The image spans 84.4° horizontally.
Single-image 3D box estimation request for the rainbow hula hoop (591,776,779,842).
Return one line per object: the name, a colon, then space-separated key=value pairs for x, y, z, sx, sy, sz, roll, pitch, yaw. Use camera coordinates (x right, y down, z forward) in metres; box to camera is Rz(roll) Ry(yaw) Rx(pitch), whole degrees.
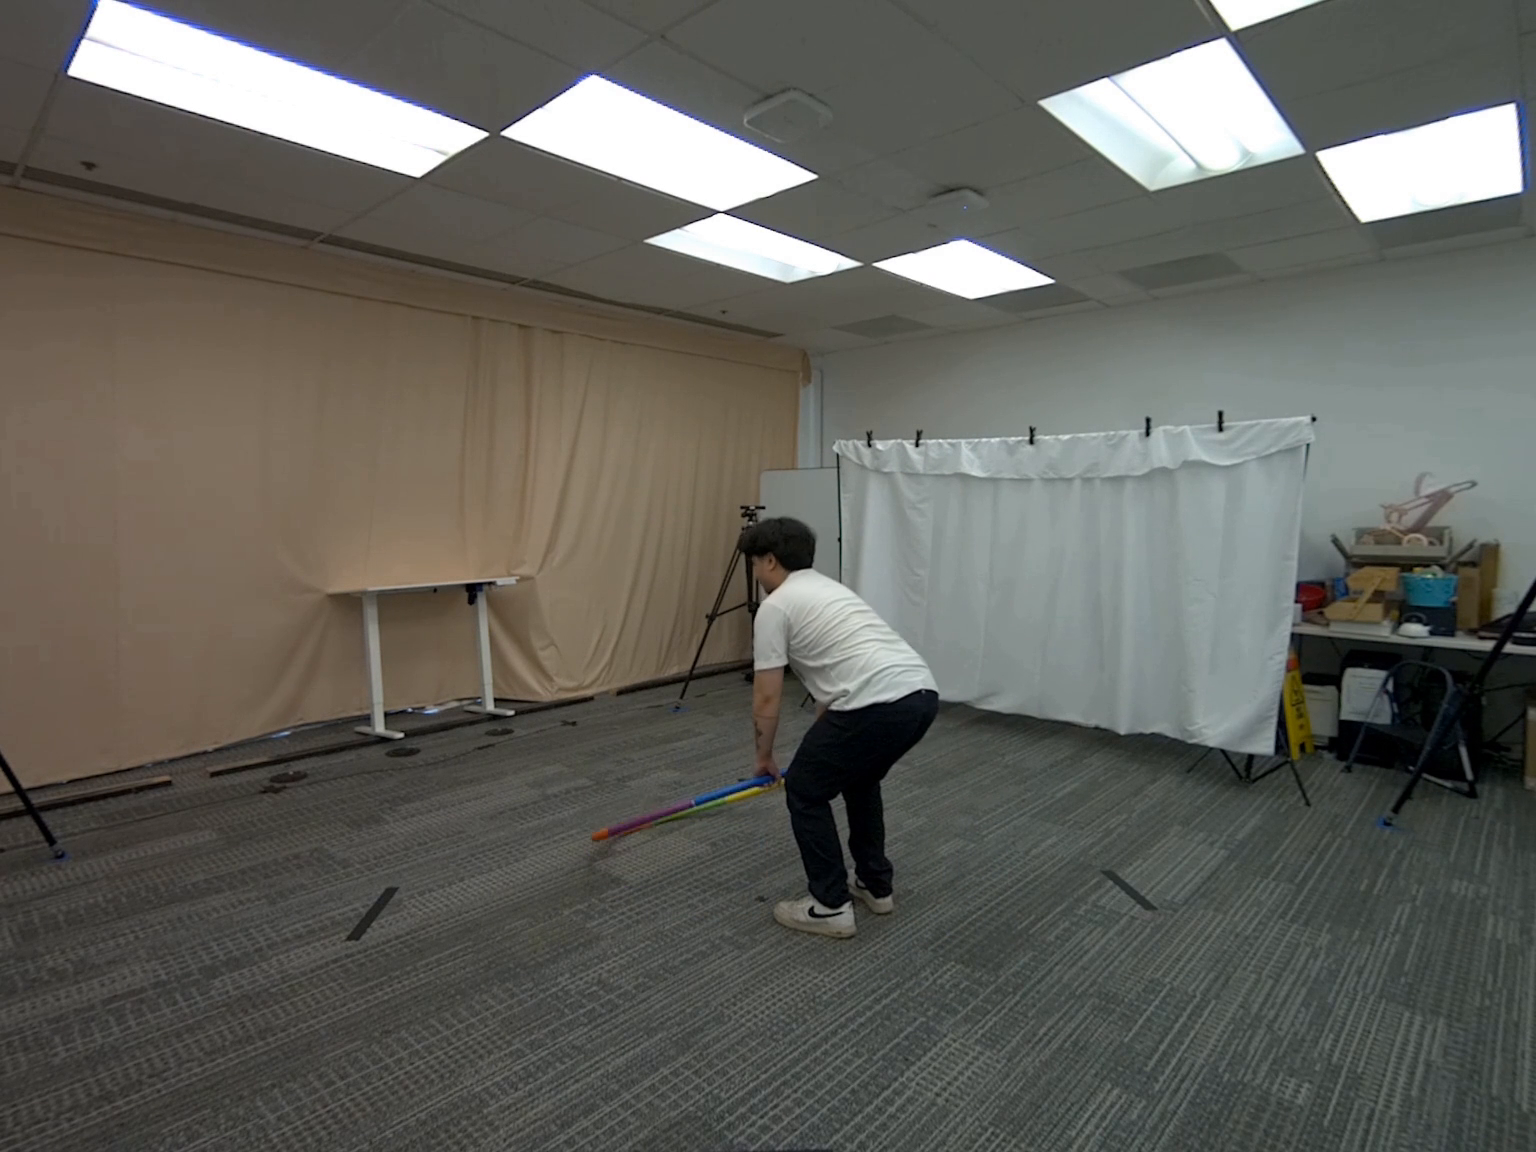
rainbow hula hoop: x=-0.233 y=0.896 z=3.351 sx=0.980 sy=0.052 sz=0.976 roll=-15 pitch=-15 yaw=-7
